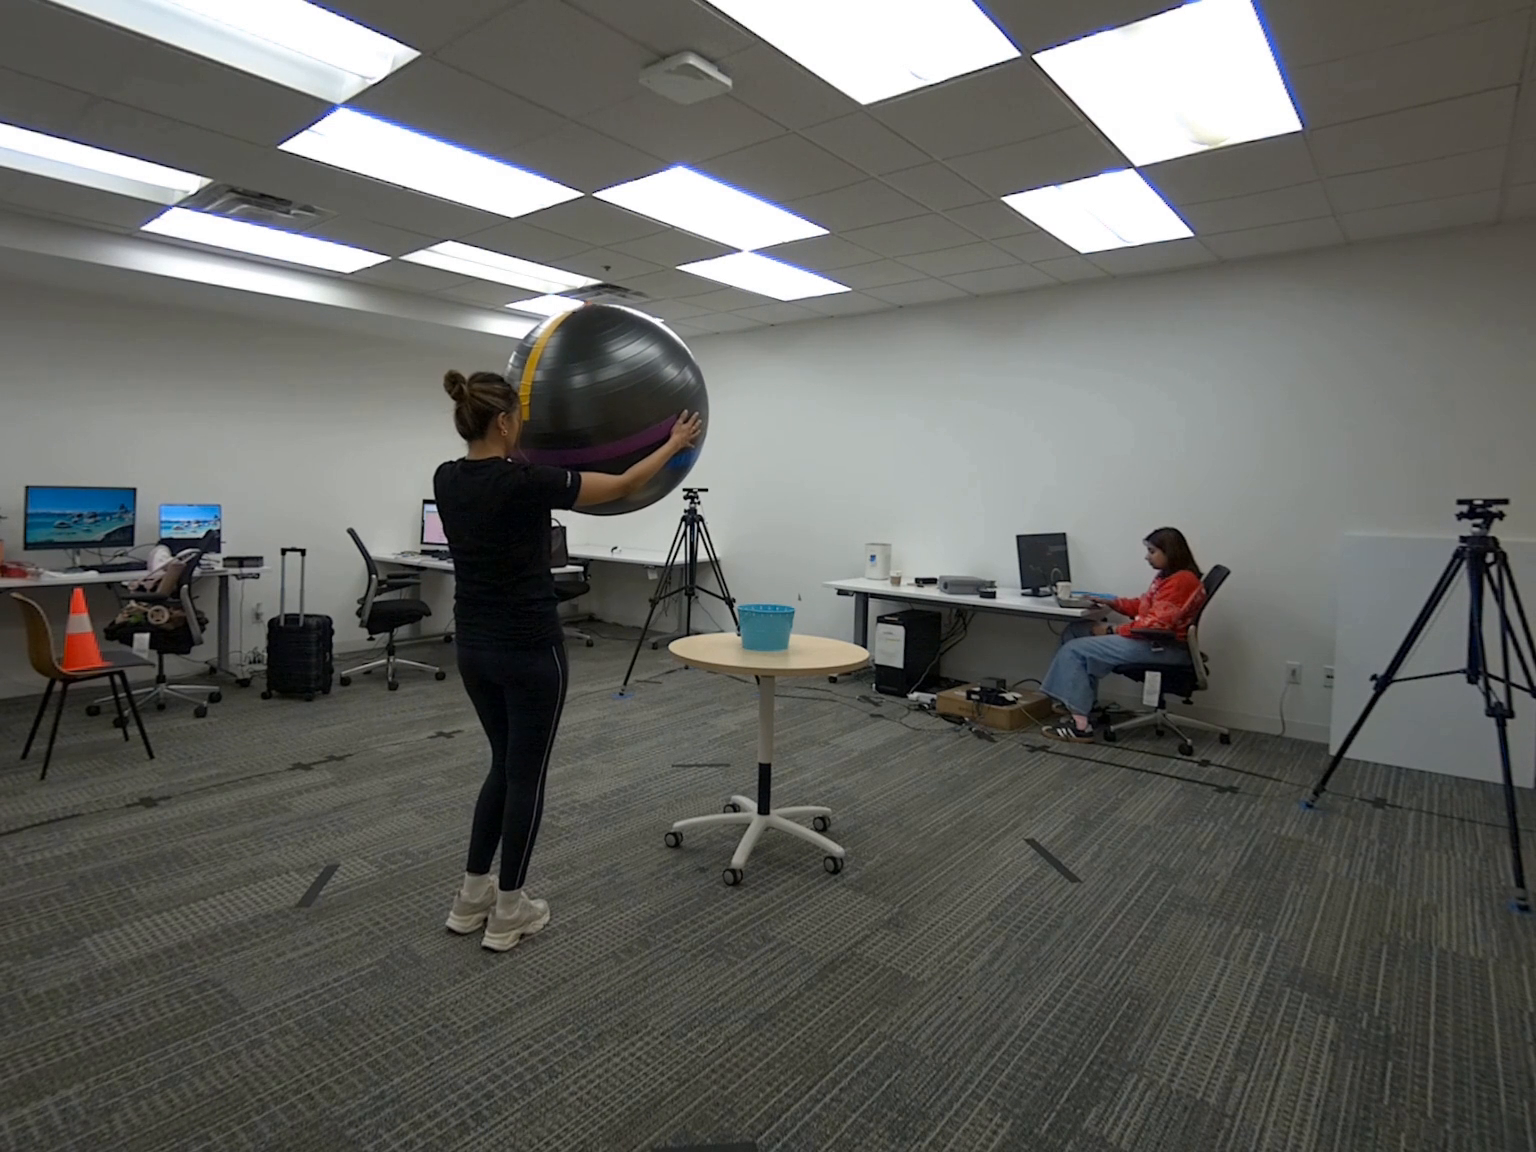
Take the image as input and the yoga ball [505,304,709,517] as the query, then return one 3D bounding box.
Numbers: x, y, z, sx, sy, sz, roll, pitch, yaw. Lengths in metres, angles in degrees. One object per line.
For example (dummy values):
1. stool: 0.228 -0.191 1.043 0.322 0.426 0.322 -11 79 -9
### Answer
1. yoga ball: -0.603 -0.594 3.084 0.757 0.756 0.762 1 4 -2
